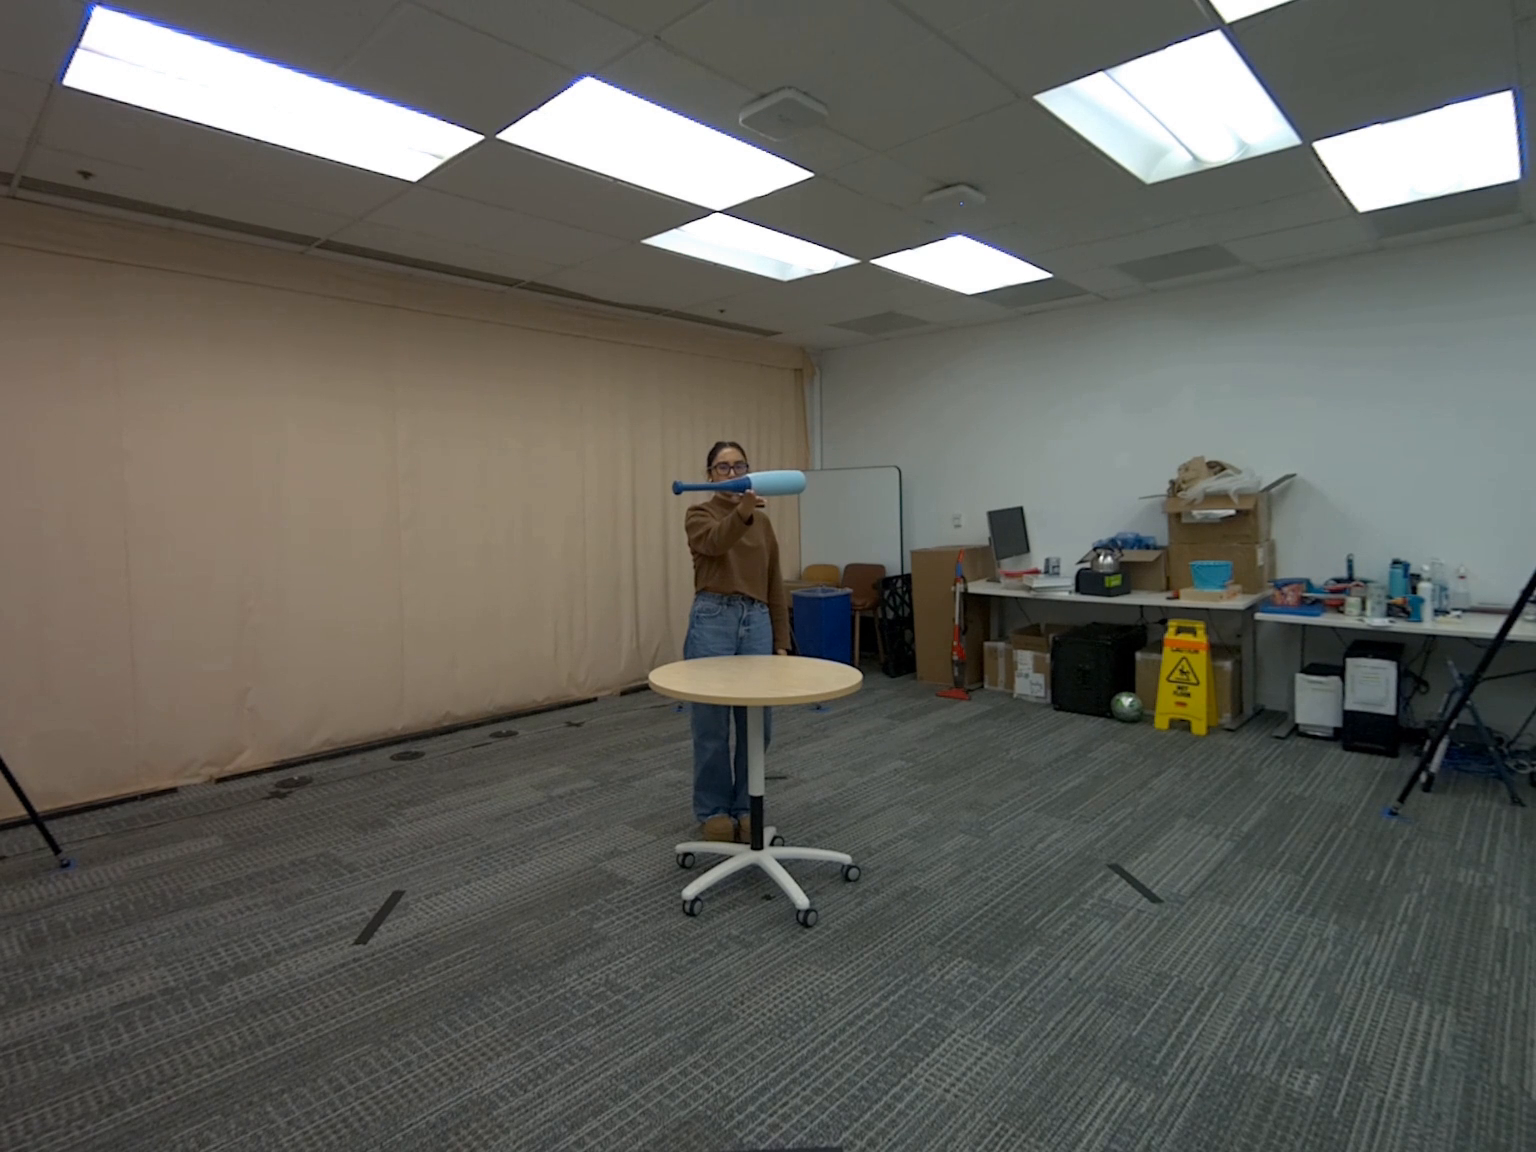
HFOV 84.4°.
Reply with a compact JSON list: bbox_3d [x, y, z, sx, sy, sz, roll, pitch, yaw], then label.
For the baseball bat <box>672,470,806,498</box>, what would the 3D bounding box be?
[{"bbox_3d":[-0.091,-0.316,2.943,0.528,0.089,0.092,-7,7,-33],"label":"baseball bat"}]
